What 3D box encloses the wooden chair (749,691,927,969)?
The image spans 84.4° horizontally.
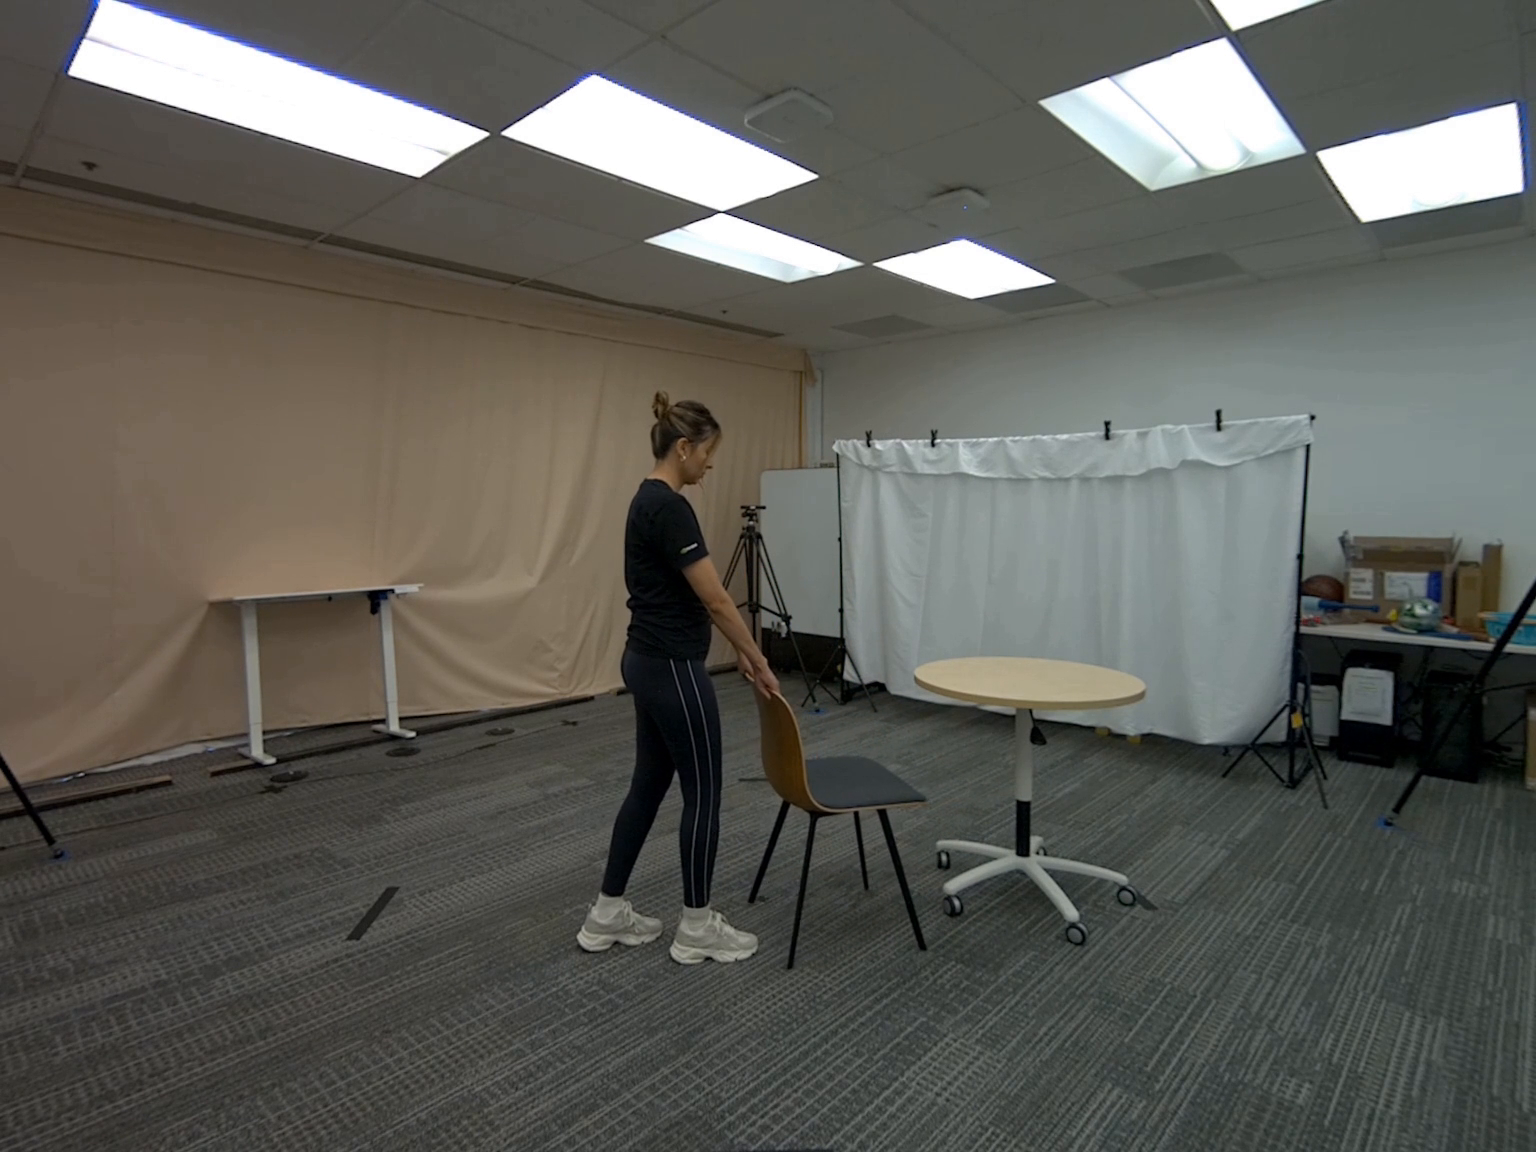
[{"bbox_3d":[0.223,0.738,2.773,0.516,0.875,0.486,-5,4,-15],"label":"wooden chair"}]
